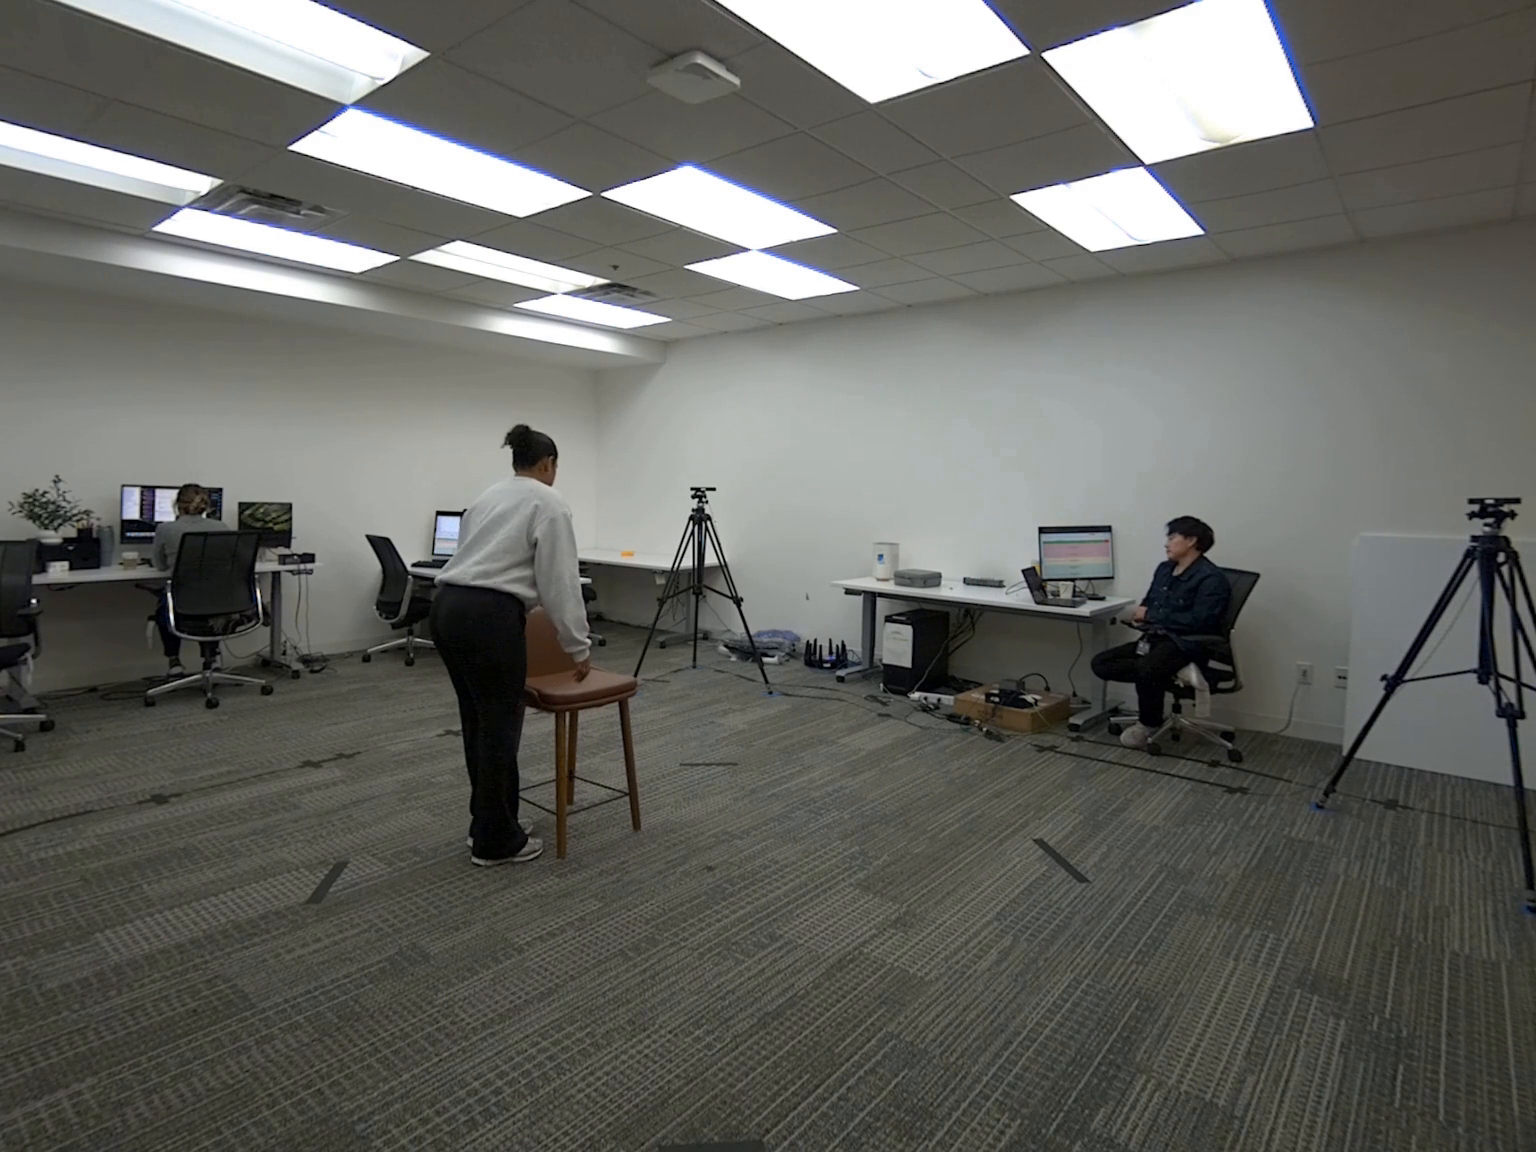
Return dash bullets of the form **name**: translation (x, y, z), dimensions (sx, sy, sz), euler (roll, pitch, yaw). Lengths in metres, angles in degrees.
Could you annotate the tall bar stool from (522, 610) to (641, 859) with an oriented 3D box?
- **tall bar stool**: translation (-0.821, 0.588, 3.448), dimensions (0.483, 0.889, 0.442), euler (1, 2, 41)
